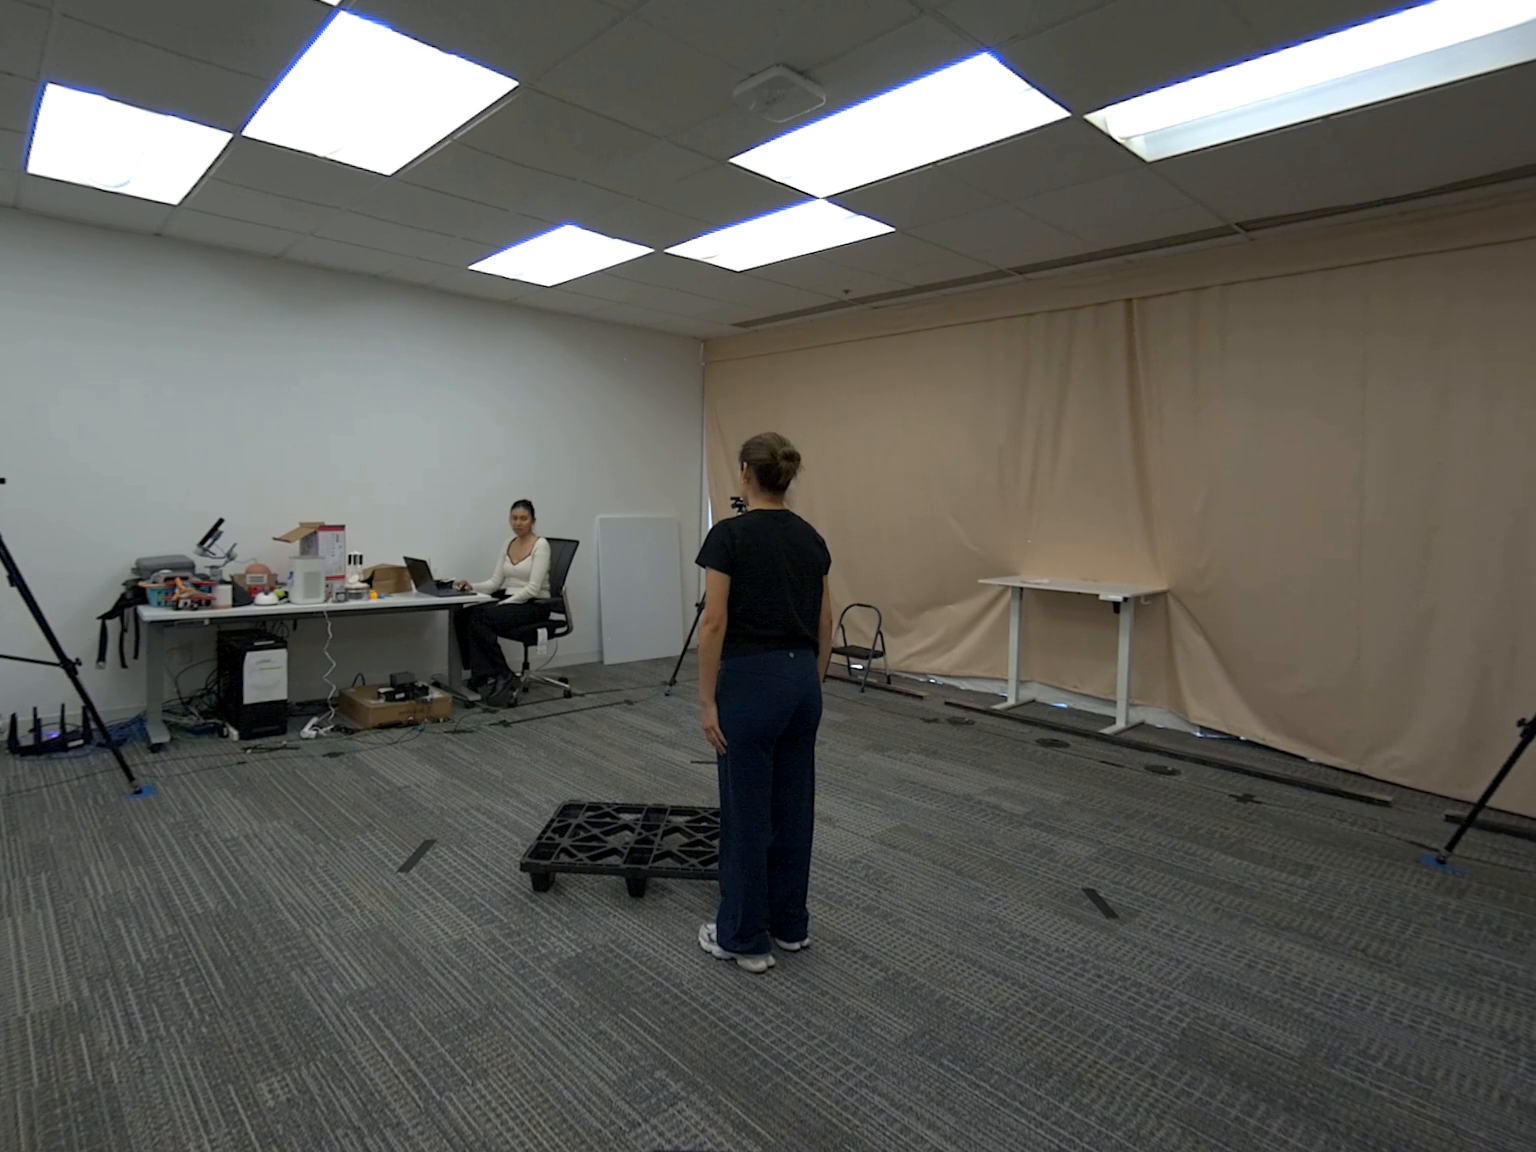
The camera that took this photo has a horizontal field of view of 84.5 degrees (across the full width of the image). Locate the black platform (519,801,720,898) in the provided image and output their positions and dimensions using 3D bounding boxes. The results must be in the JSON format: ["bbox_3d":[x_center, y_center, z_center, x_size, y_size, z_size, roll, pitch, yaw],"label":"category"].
[{"bbox_3d":[-0.458,1.029,3.141,0.808,0.143,0.605,2,5,2],"label":"black platform"}]
